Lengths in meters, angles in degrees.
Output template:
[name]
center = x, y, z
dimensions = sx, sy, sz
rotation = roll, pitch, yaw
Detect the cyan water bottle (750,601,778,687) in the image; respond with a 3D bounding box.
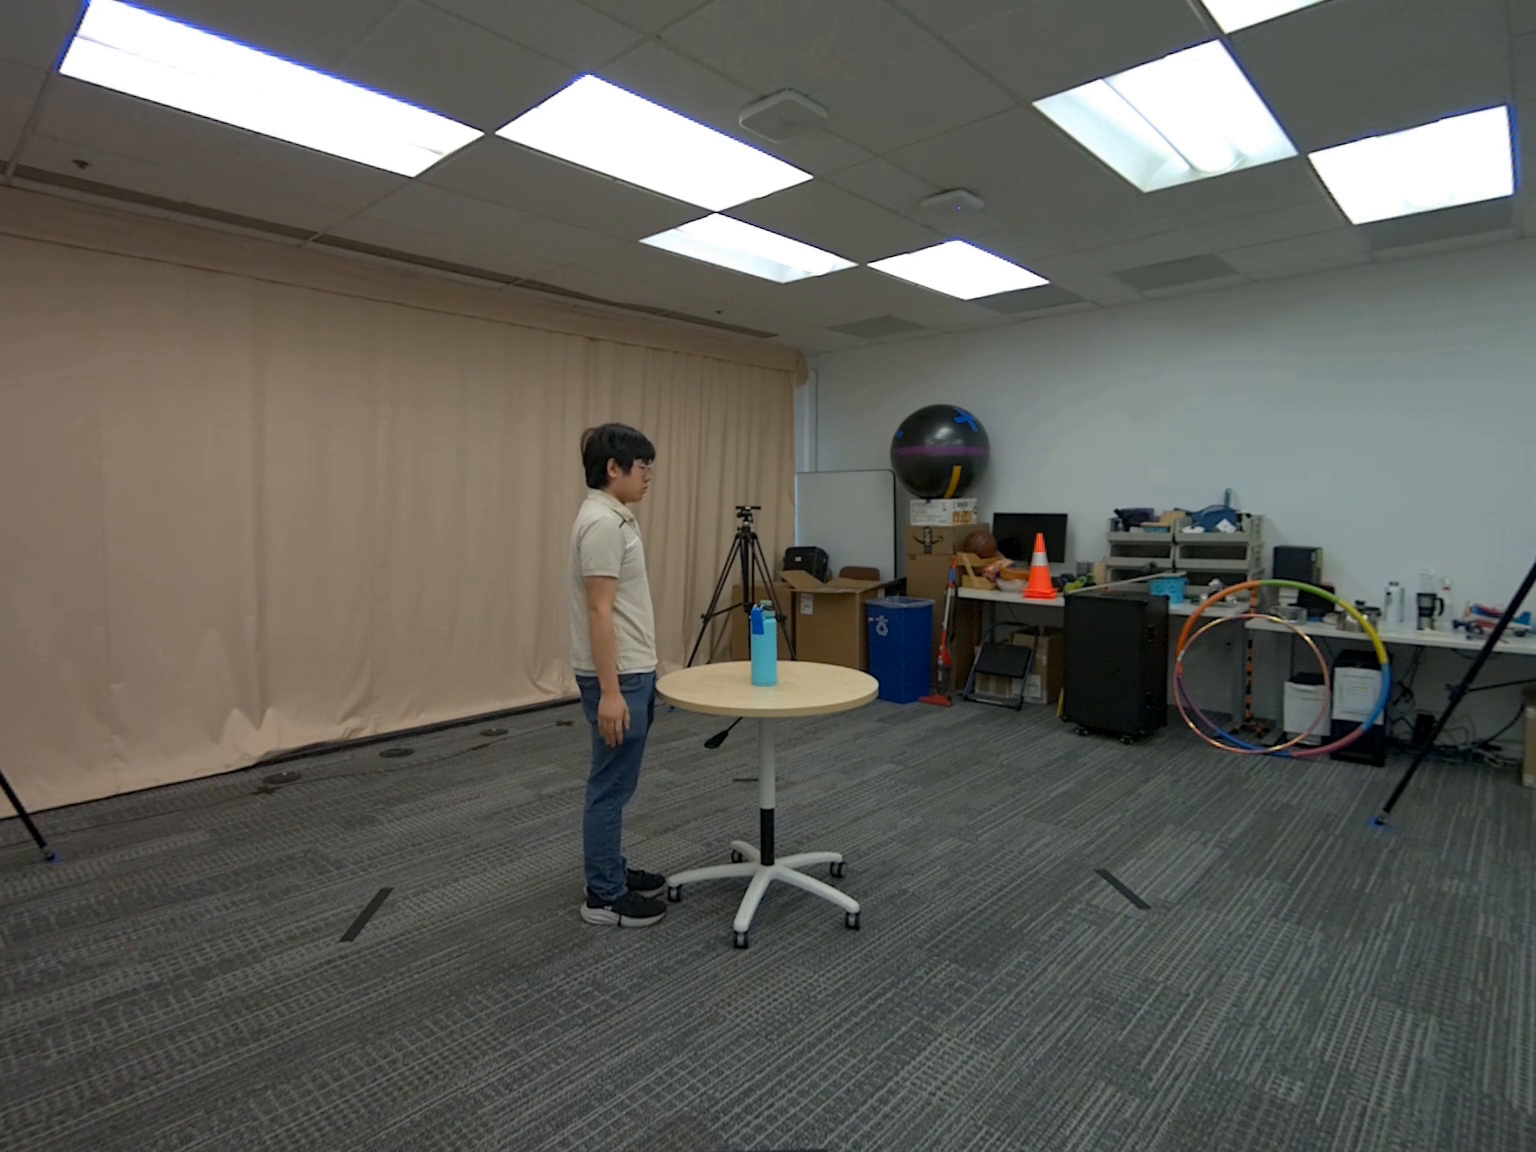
[cyan water bottle]
center = -0.009, 0.232, 2.872
dimensions = 0.092, 0.282, 0.093
rotation = -2, 4, -2
